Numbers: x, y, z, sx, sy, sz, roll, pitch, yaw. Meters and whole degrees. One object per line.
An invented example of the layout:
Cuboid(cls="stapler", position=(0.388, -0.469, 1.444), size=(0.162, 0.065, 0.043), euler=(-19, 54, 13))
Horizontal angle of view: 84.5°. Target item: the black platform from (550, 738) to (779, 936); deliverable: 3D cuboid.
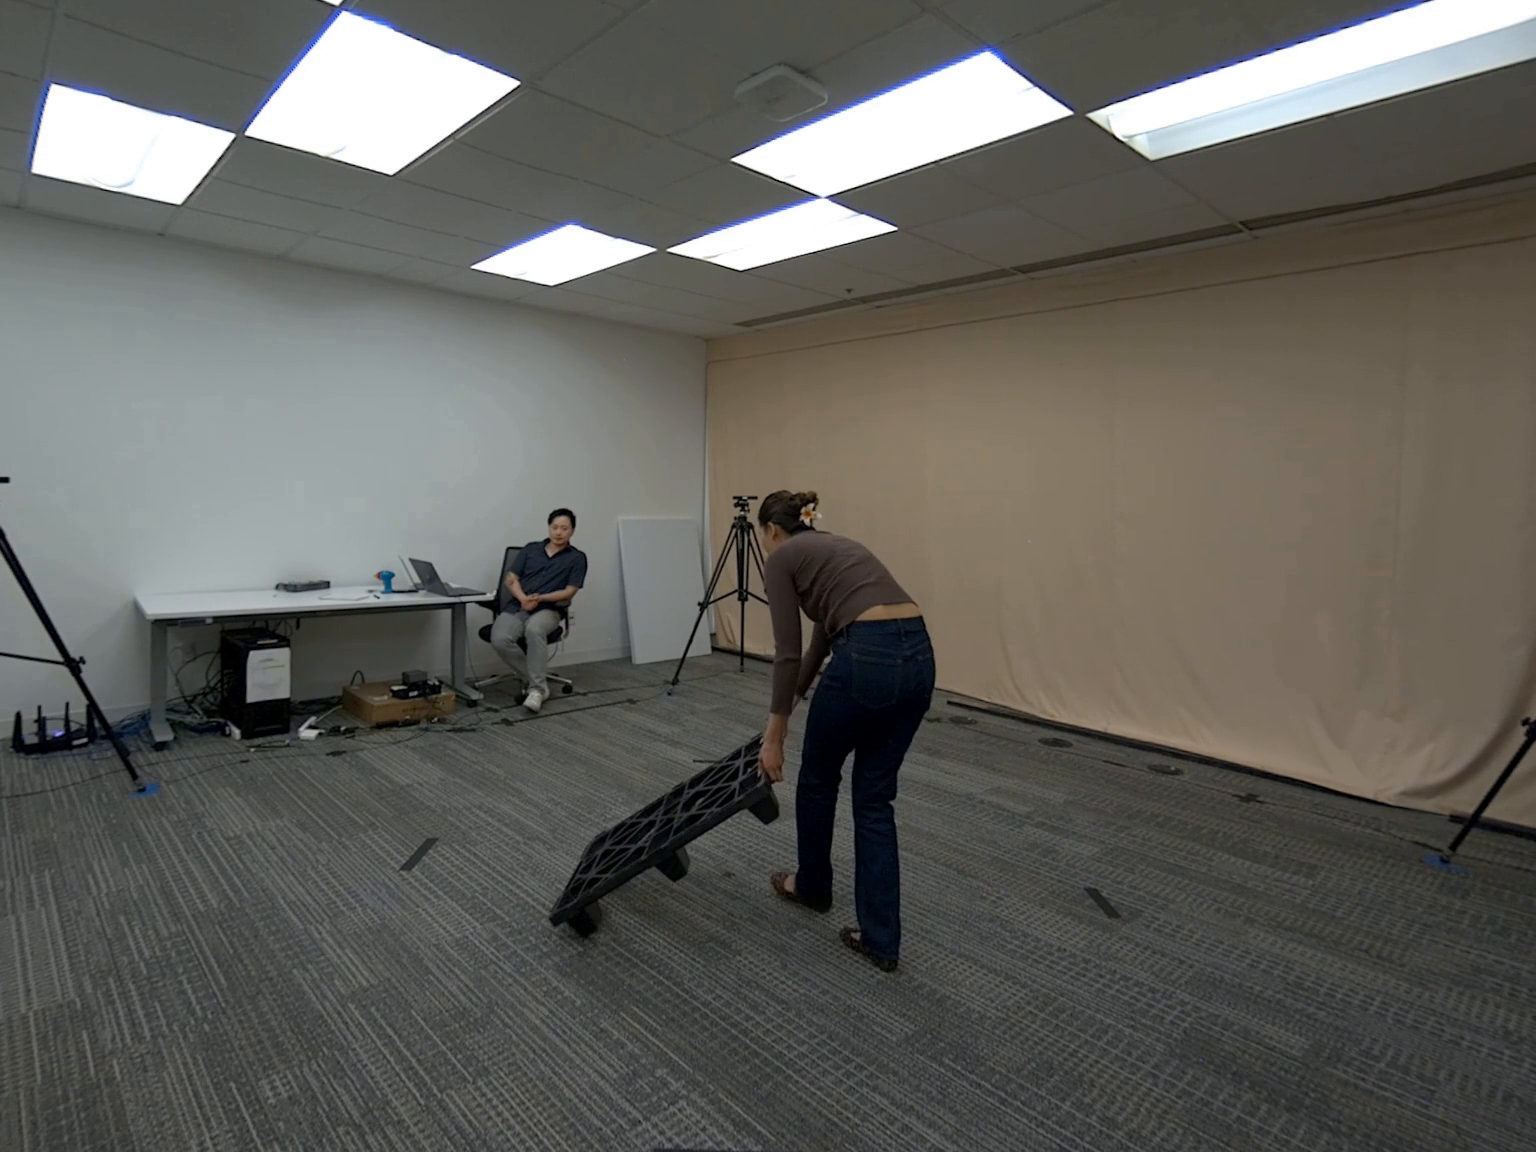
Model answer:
Cuboid(cls="black platform", position=(-0.300, 0.860, 2.831), size=(0.806, 0.143, 0.606), euler=(-33, 5, 4))
